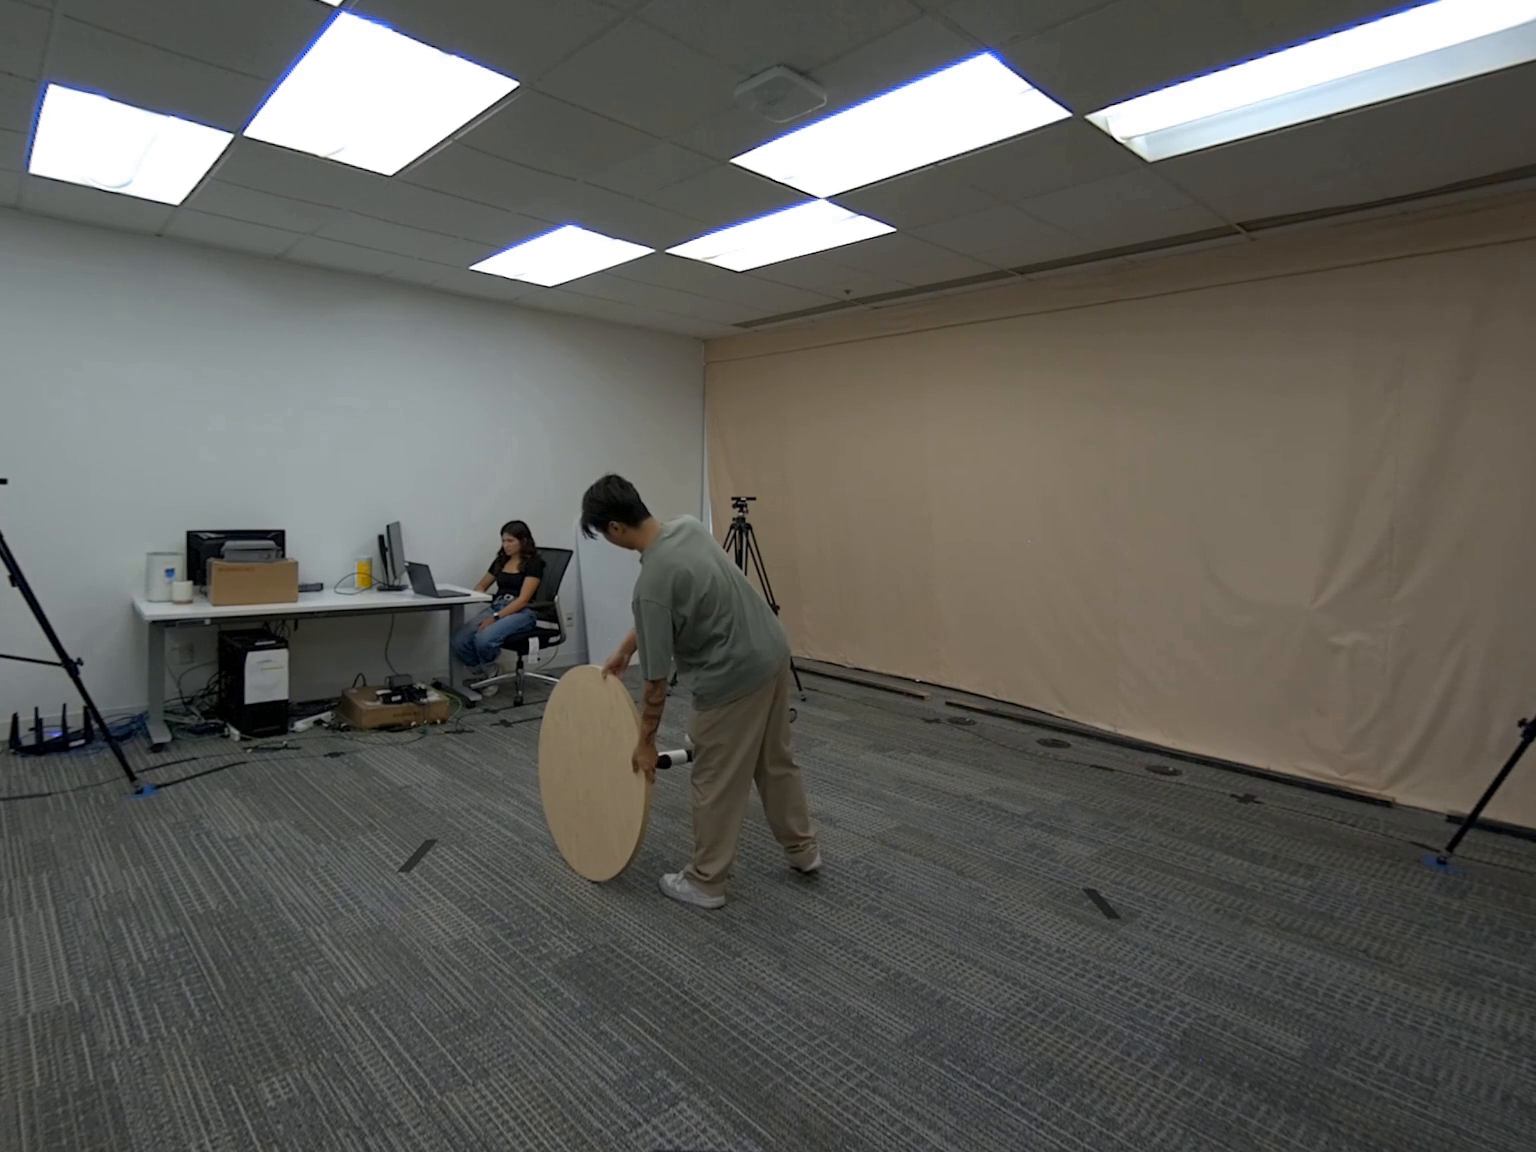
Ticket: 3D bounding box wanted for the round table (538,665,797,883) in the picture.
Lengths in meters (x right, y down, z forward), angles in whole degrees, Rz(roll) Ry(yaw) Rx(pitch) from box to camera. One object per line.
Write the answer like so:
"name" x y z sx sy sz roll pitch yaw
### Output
"round table" -0.378 0.723 3.341 0.767 0.784 0.805 3 2 -41
